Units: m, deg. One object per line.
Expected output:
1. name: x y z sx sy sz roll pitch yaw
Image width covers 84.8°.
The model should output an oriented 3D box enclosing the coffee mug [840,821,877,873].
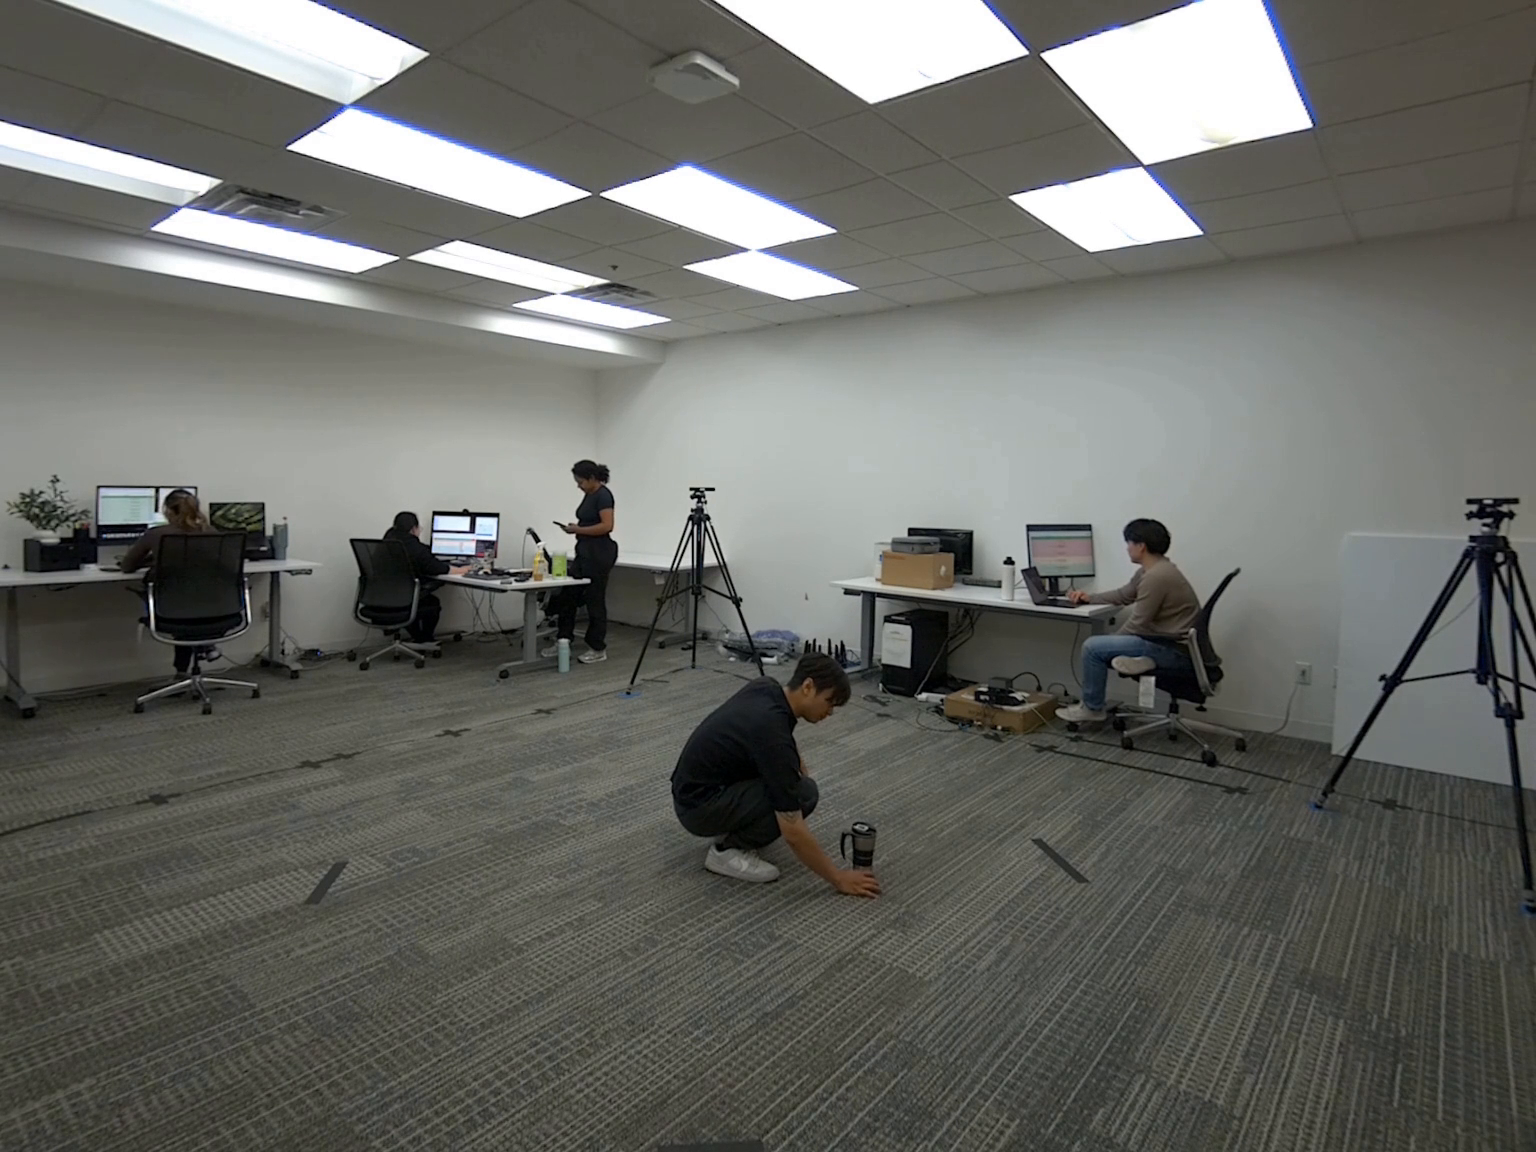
1. coffee mug: 0.315 0.994 3.030 0.126 0.201 0.085 10 13 38
